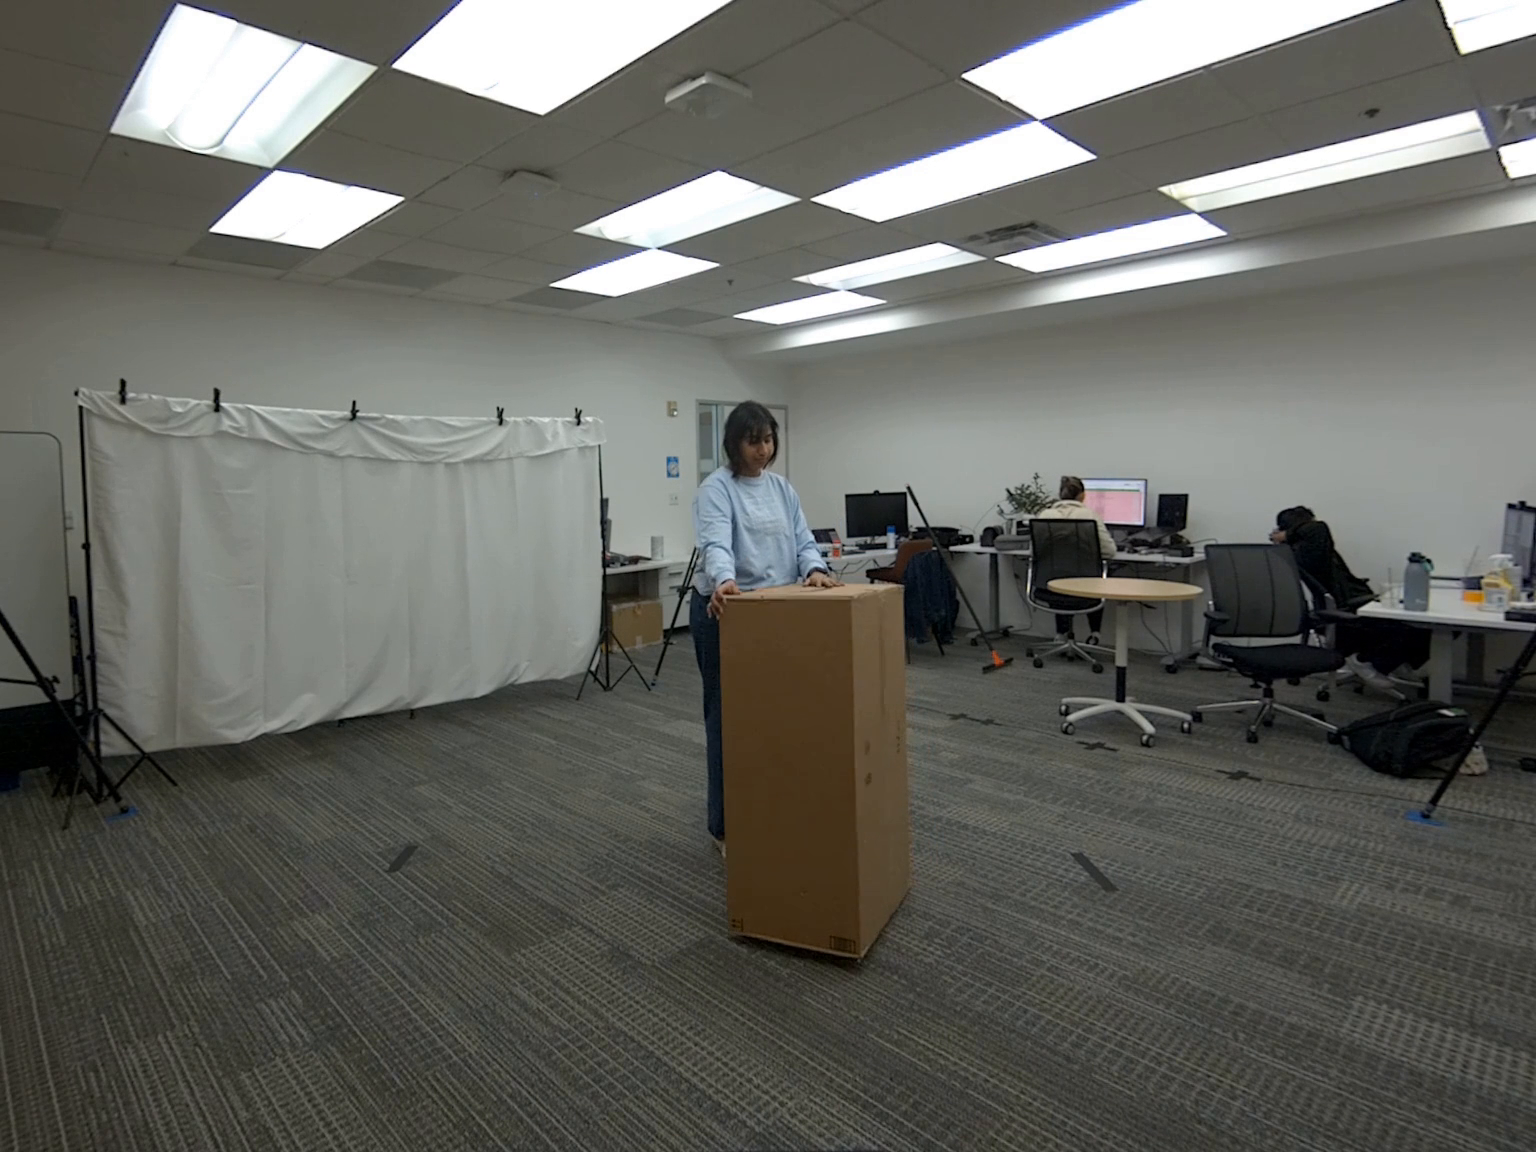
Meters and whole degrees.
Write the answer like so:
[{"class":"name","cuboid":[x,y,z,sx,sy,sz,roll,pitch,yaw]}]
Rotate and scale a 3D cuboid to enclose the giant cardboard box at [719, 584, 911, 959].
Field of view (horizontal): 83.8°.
[{"class":"giant cardboard box","cuboid":[0.170,0.559,2.742,0.457,1.027,0.571,-1,1,24]}]
